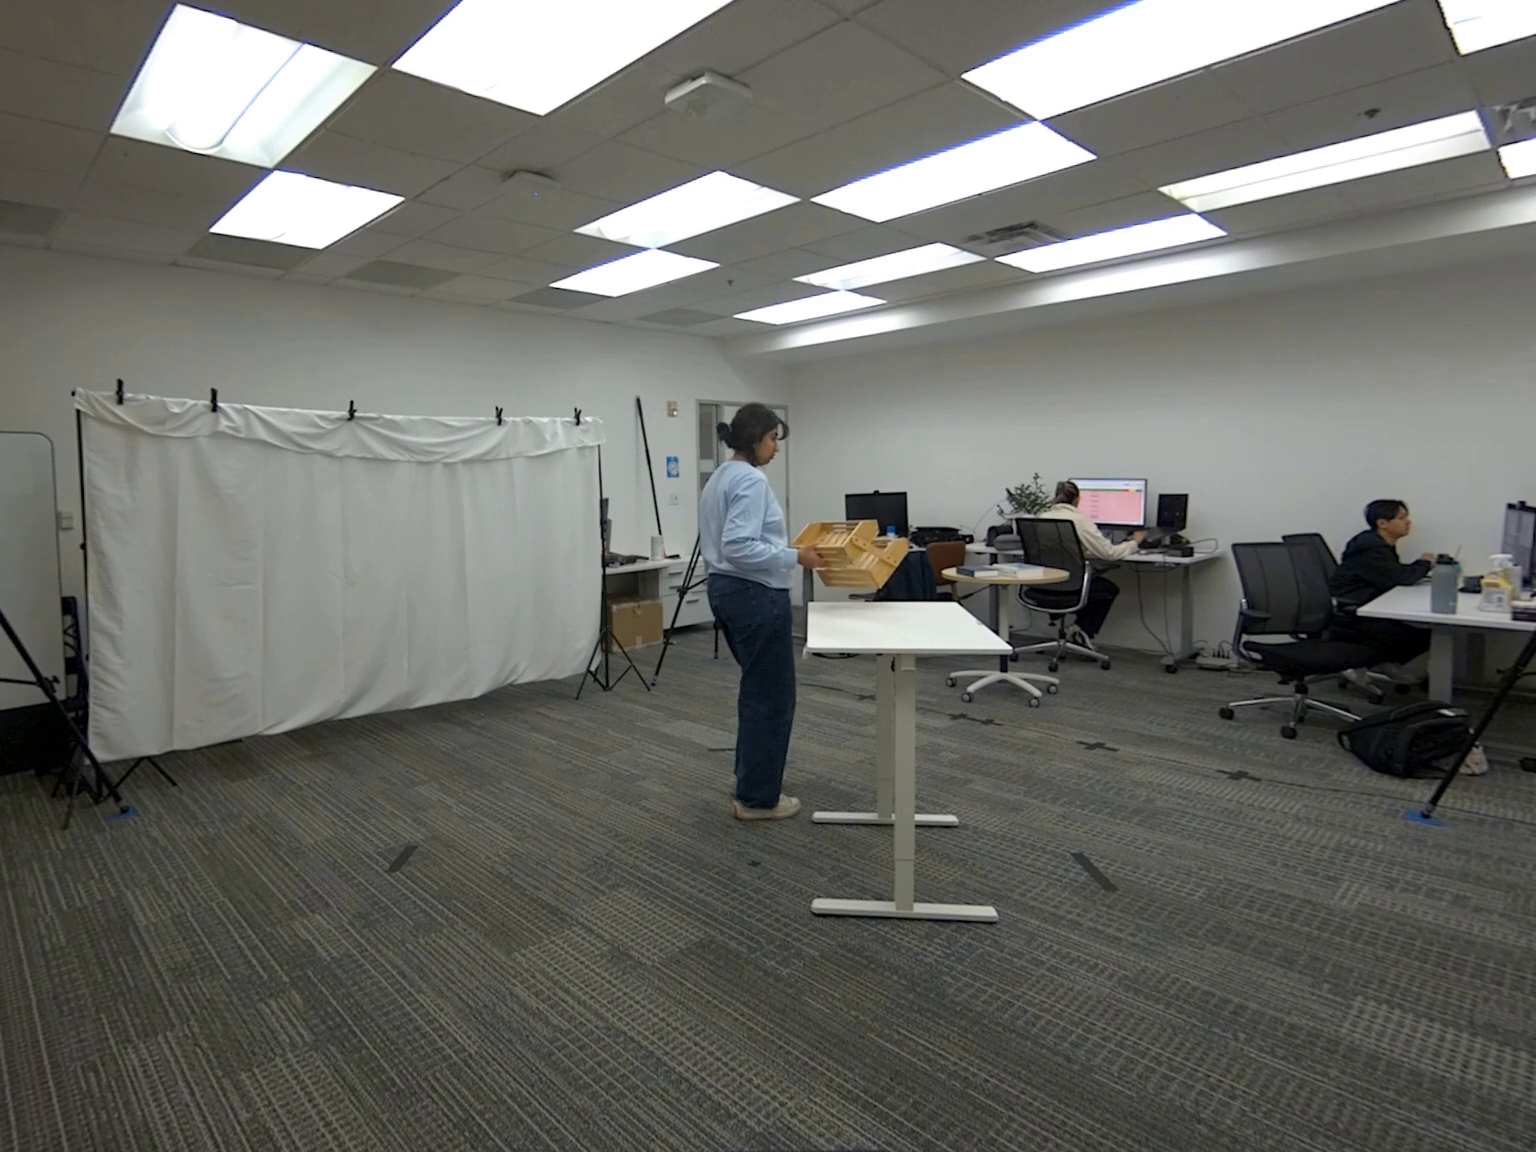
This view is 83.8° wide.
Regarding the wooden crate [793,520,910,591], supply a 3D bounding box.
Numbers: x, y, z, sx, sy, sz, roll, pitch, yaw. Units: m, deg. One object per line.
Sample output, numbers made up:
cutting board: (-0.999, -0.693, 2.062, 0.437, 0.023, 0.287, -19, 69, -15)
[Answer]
wooden crate: (0.325, -0.119, 3.435, 0.333, 0.265, 0.302, 0, 42, 51)
